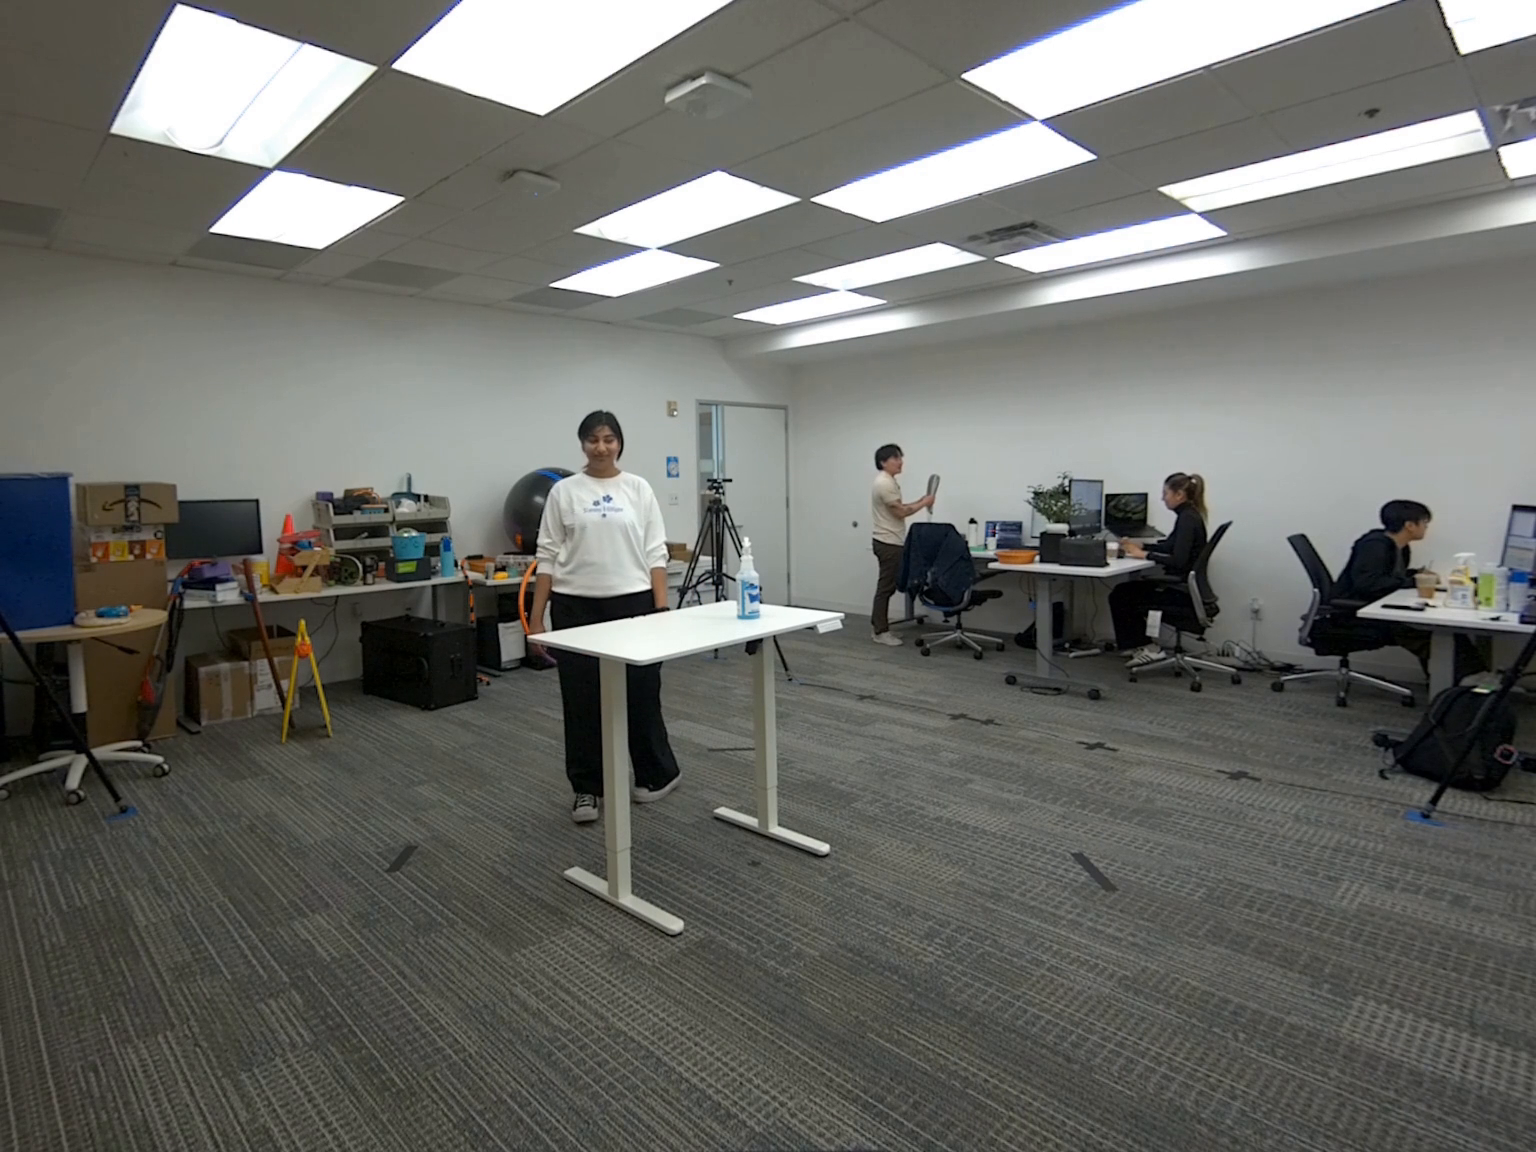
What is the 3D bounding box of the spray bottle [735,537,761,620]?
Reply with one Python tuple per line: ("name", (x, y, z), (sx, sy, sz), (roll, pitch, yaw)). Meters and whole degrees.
("spray bottle", (-0.073, 0.008, 3.161), (0.089, 0.296, 0.088), (0, 4, 25))
